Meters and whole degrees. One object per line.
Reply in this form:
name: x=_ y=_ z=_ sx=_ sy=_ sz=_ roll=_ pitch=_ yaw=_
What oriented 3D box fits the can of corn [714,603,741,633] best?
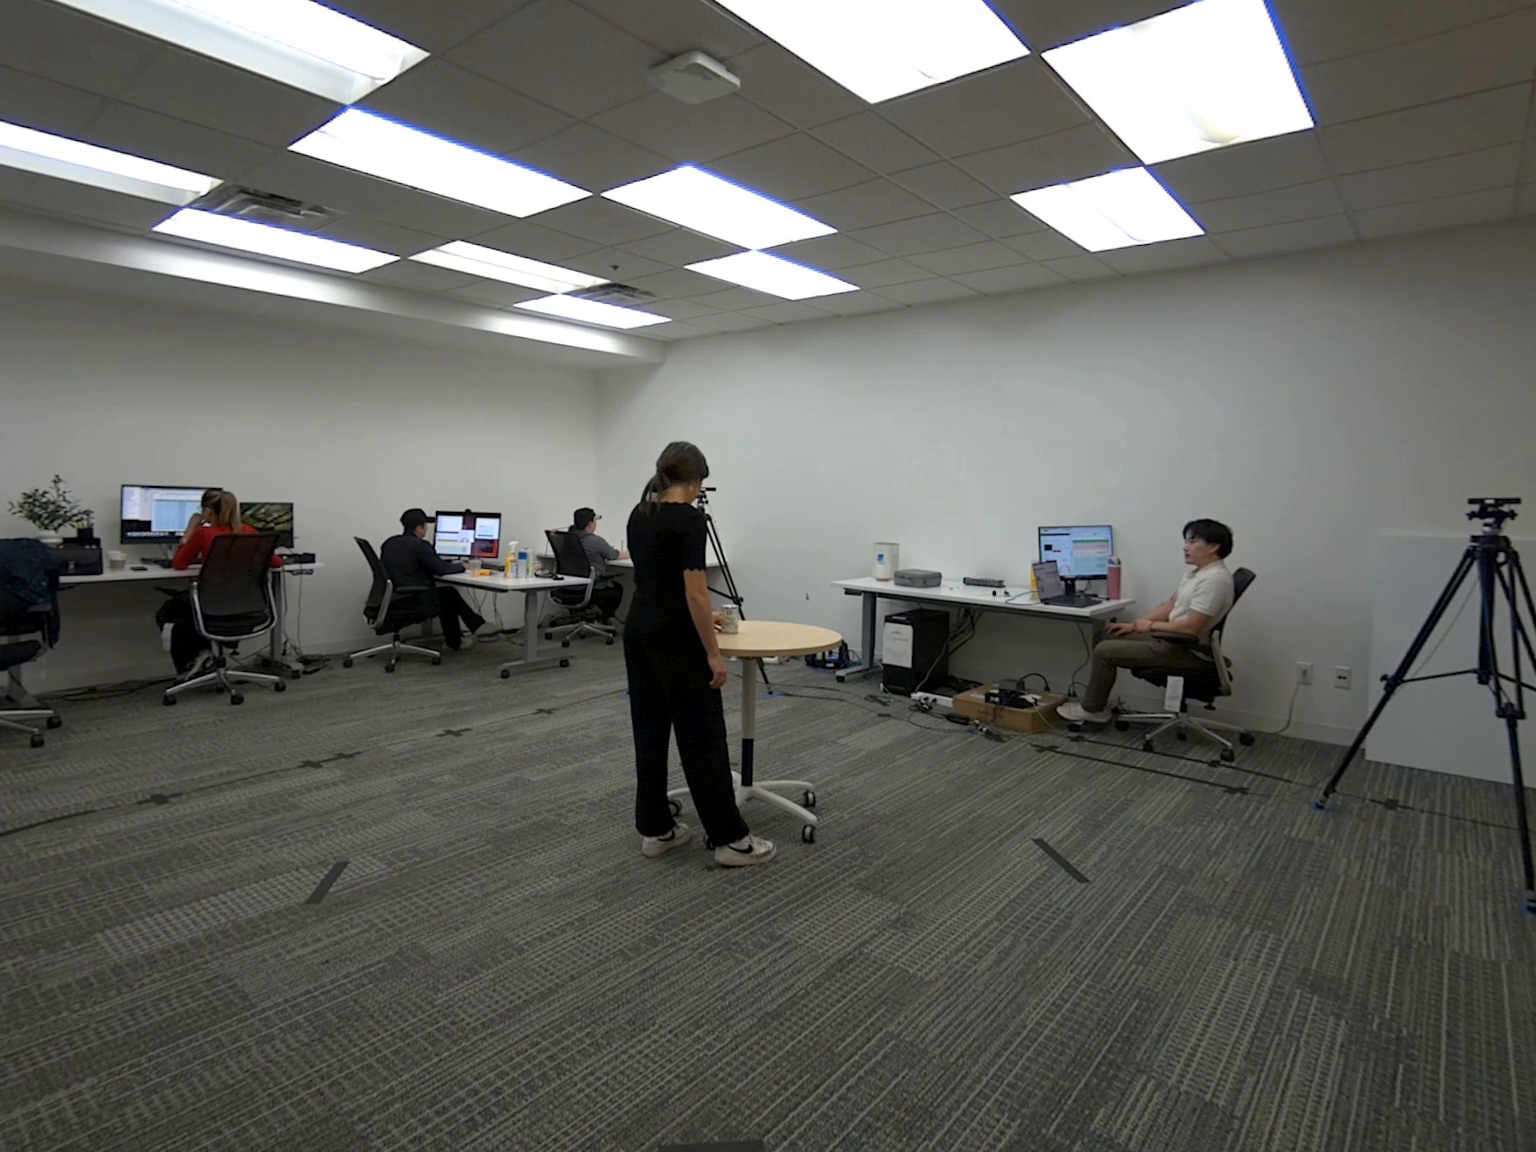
can of corn: x=-0.173 y=0.182 z=3.600 sx=0.074 sy=0.111 sz=0.074 roll=1 pitch=2 yaw=-2
